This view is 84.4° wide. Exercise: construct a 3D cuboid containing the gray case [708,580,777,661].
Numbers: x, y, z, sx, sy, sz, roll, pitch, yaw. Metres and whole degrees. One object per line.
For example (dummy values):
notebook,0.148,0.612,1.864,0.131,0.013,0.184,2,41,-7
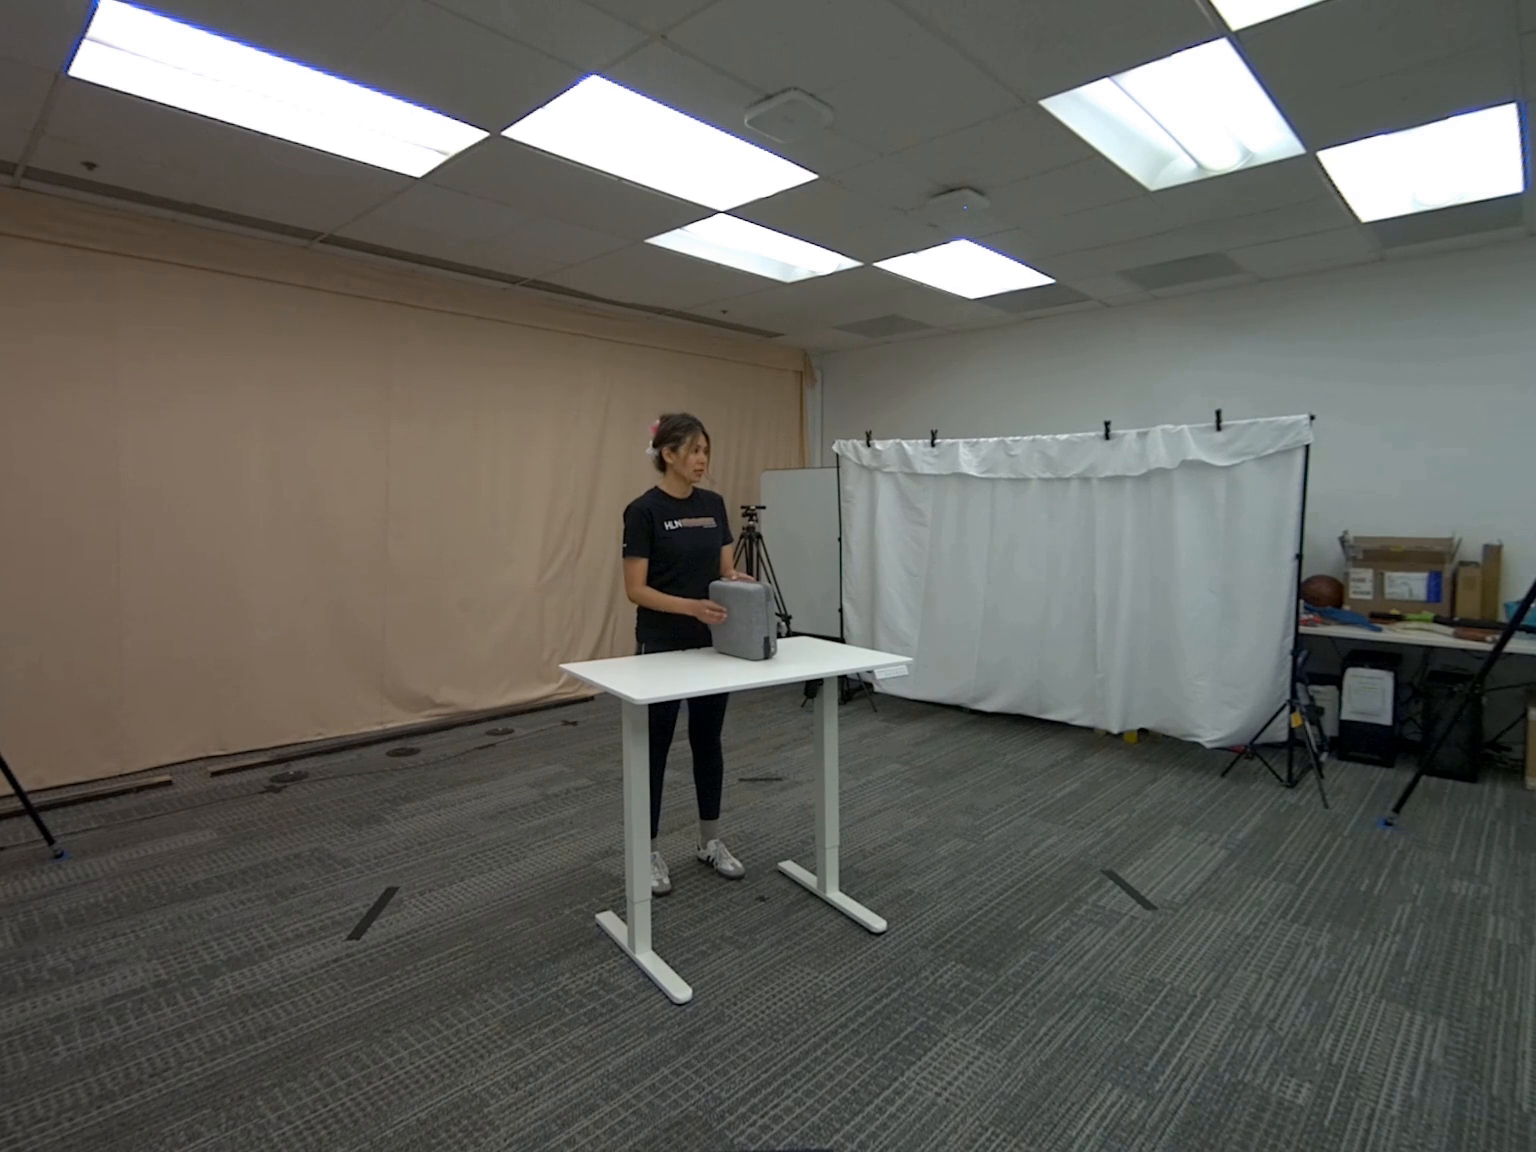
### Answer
gray case,-0.087,0.142,2.847,0.101,0.256,0.269,-9,8,-36
